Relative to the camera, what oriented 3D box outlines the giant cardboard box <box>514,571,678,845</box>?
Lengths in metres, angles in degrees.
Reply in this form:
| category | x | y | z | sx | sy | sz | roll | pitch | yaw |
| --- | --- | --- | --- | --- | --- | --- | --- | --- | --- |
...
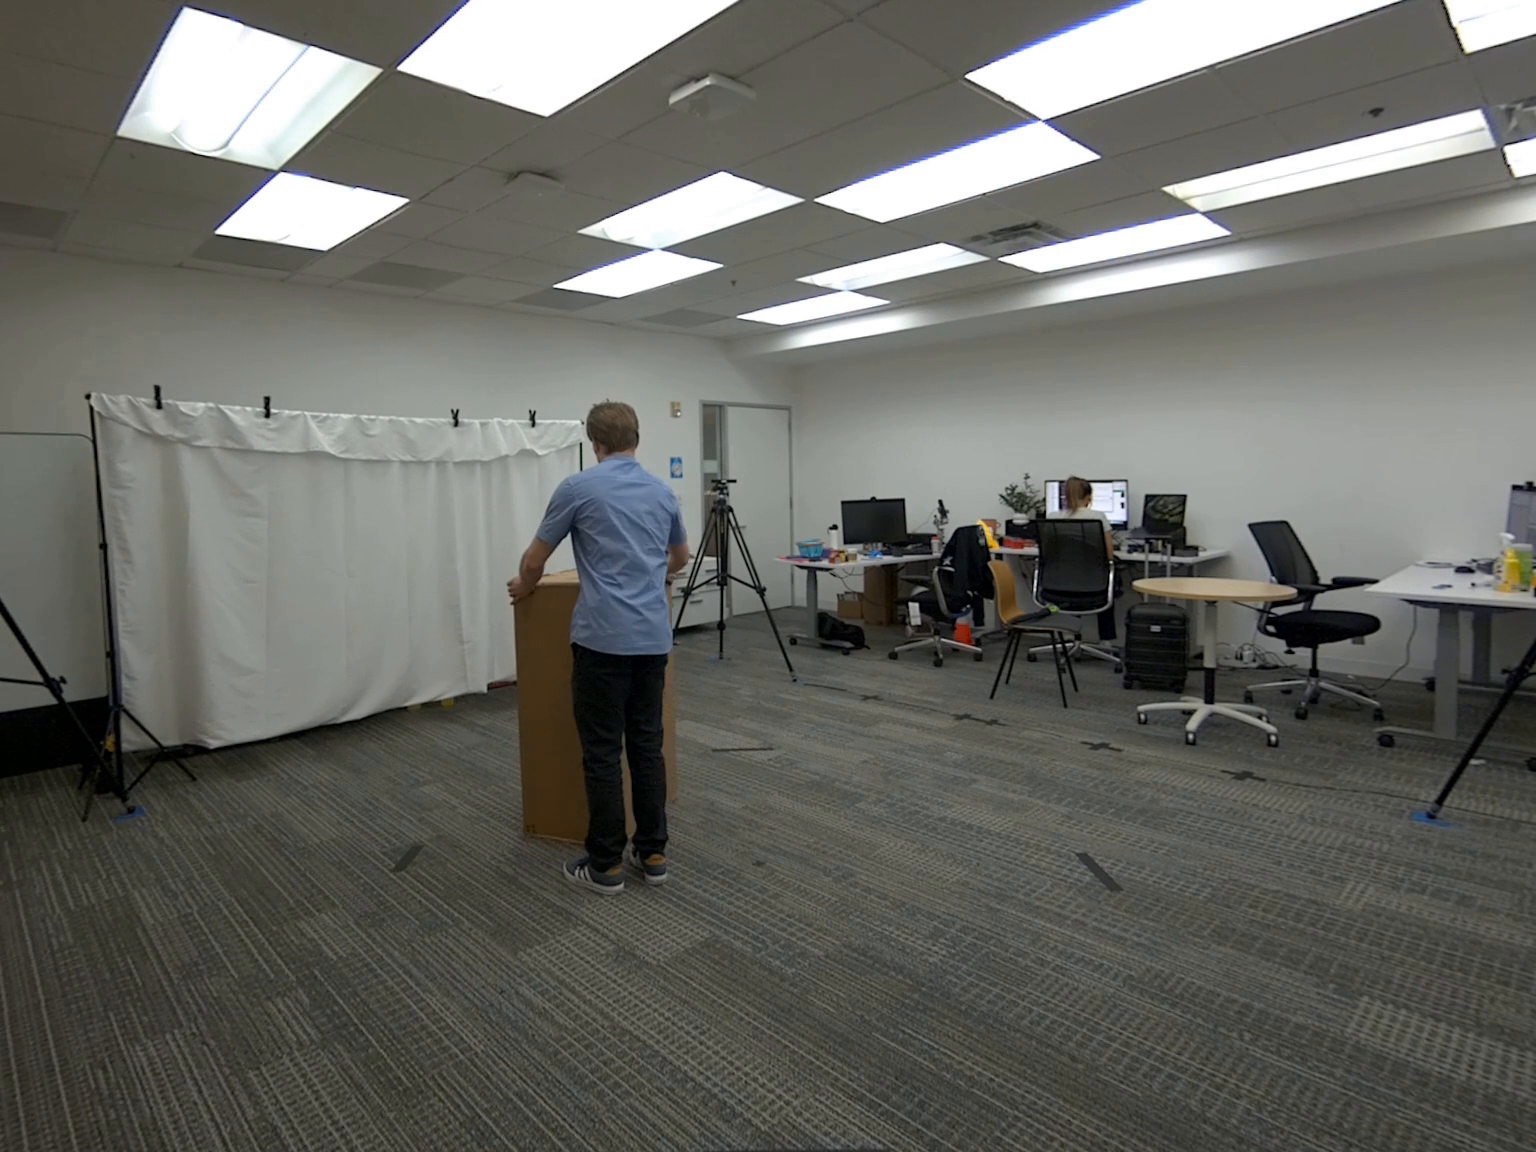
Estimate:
| category | x | y | z | sx | sy | sz | roll | pitch | yaw |
| --- | --- | --- | --- | --- | --- | --- | --- | --- | --- |
| giant cardboard box | -0.705 | 0.504 | 3.560 | 0.435 | 1.022 | 0.568 | 0 | 4 | 21 |
